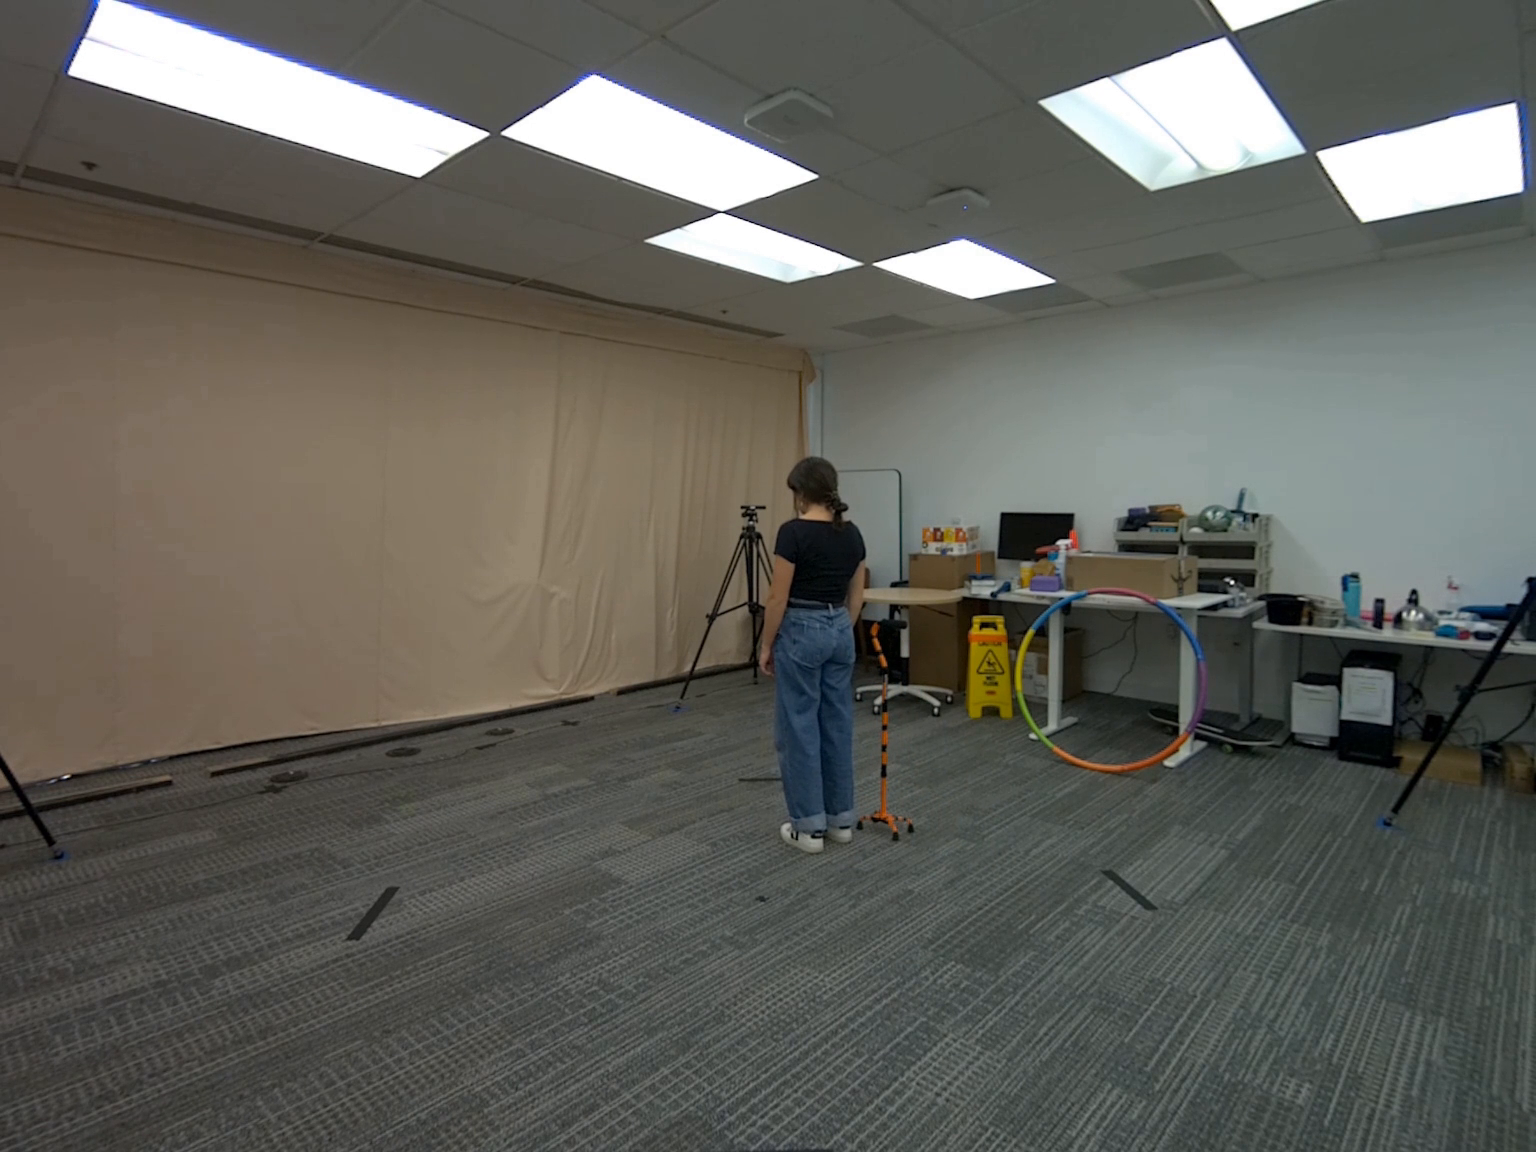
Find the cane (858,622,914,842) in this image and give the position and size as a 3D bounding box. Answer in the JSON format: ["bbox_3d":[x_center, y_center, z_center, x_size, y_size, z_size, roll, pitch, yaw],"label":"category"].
[{"bbox_3d":[0.519,0.643,3.585,0.213,0.906,0.147,3,5,41],"label":"cane"}]
